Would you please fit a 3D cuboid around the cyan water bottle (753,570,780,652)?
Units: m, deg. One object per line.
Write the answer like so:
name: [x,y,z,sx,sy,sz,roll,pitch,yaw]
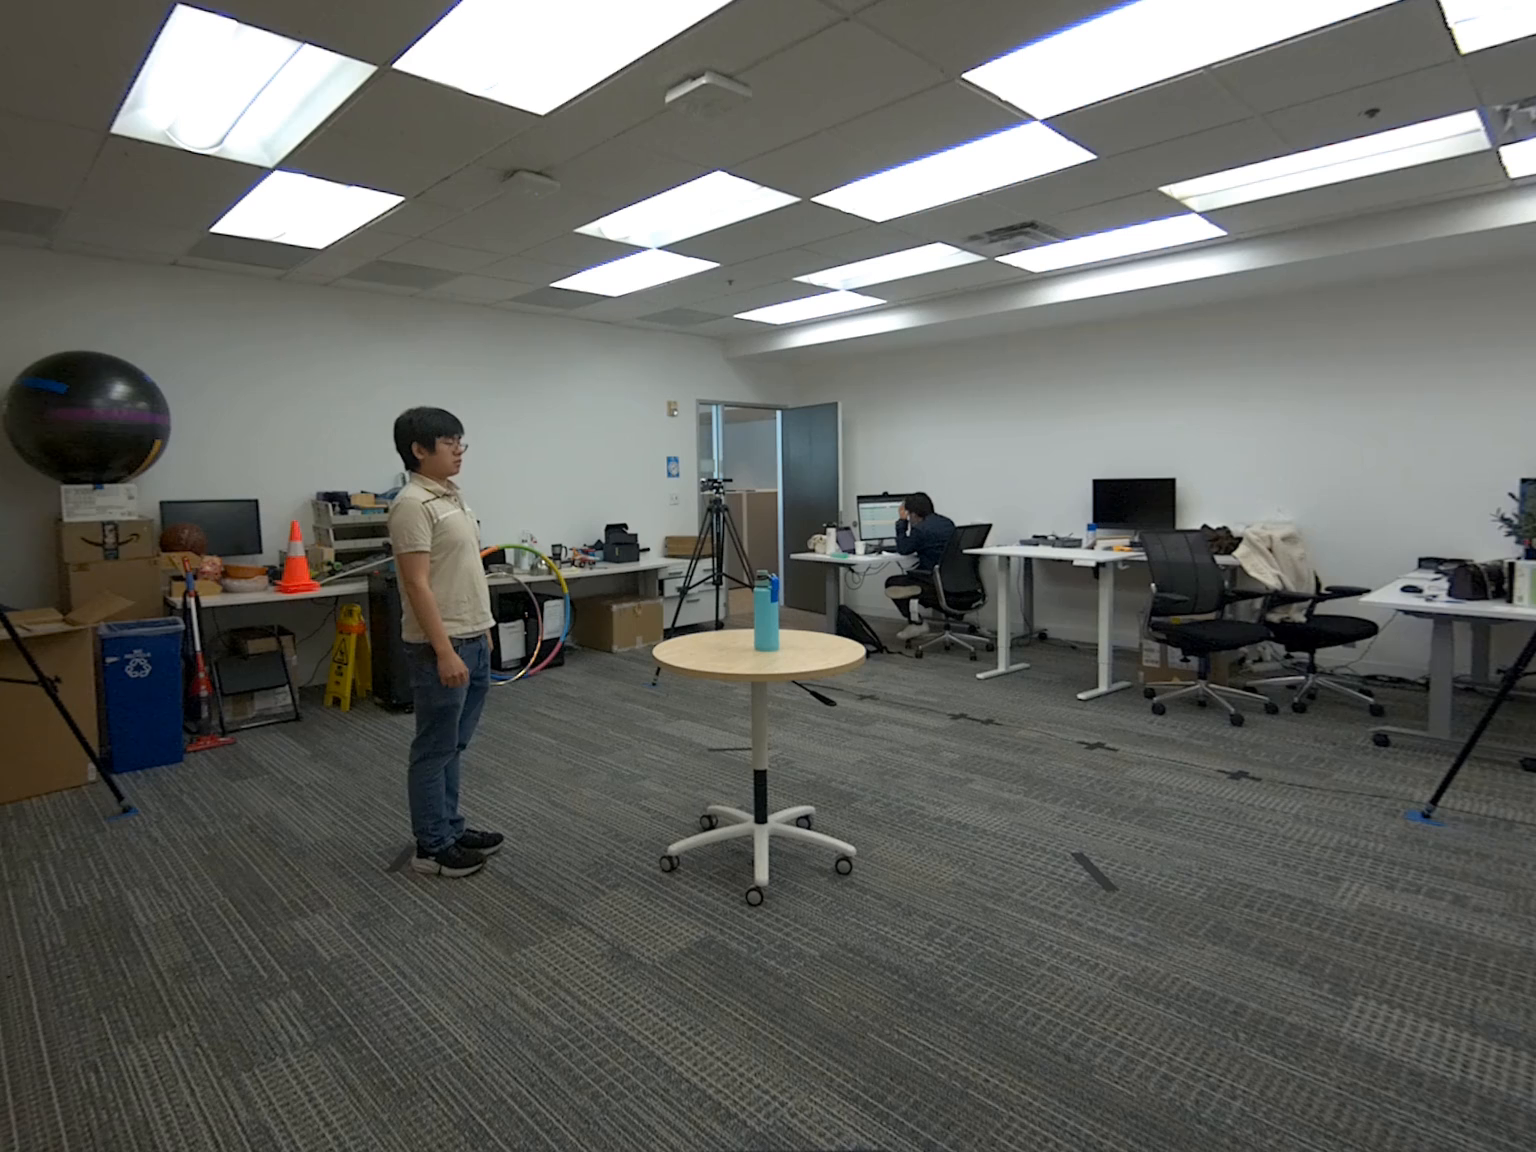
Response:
cyan water bottle: [-0.009,0.123,3.067,0.092,0.282,0.093,-2,5,-1]
